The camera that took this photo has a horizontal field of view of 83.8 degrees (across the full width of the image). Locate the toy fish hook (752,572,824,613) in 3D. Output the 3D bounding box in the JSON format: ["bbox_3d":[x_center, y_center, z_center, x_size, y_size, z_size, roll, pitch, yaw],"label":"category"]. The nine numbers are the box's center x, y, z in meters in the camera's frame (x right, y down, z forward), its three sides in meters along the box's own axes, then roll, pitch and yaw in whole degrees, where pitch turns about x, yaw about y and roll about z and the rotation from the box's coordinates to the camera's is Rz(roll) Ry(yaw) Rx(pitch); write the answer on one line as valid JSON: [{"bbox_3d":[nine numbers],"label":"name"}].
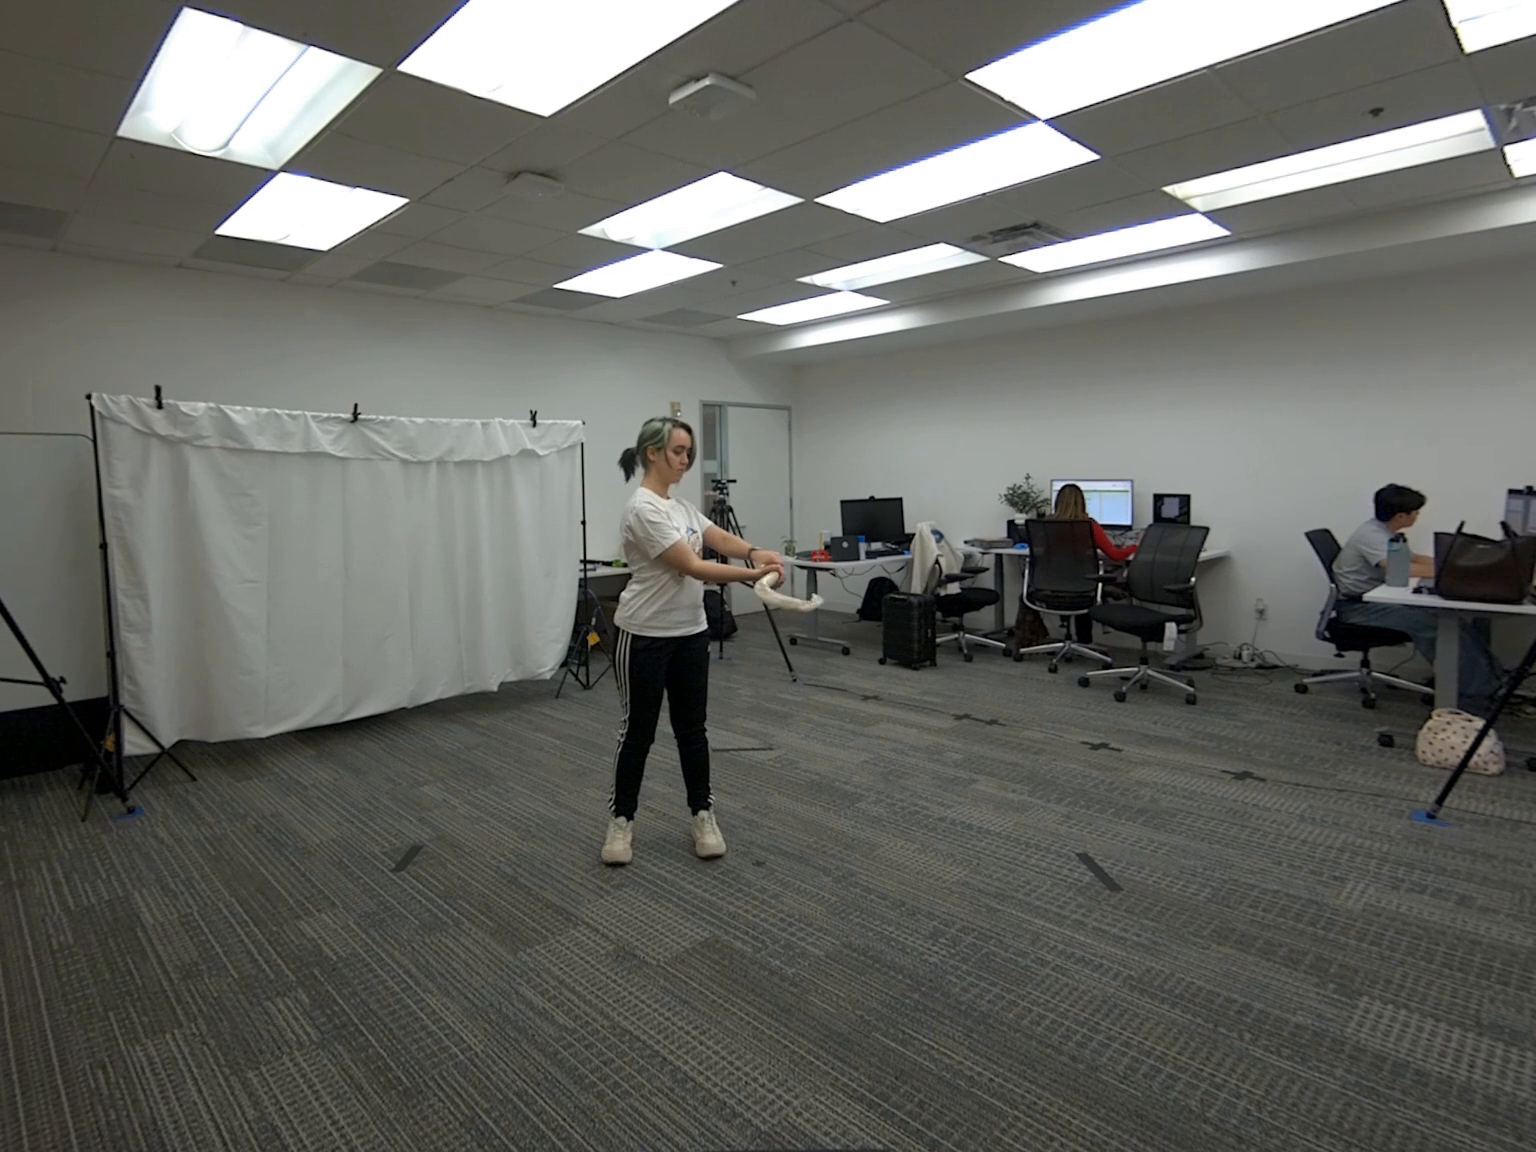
[{"bbox_3d":[0.072,0.031,2.816,0.225,0.048,0.511,14,15,-1],"label":"toy fish hook"}]
